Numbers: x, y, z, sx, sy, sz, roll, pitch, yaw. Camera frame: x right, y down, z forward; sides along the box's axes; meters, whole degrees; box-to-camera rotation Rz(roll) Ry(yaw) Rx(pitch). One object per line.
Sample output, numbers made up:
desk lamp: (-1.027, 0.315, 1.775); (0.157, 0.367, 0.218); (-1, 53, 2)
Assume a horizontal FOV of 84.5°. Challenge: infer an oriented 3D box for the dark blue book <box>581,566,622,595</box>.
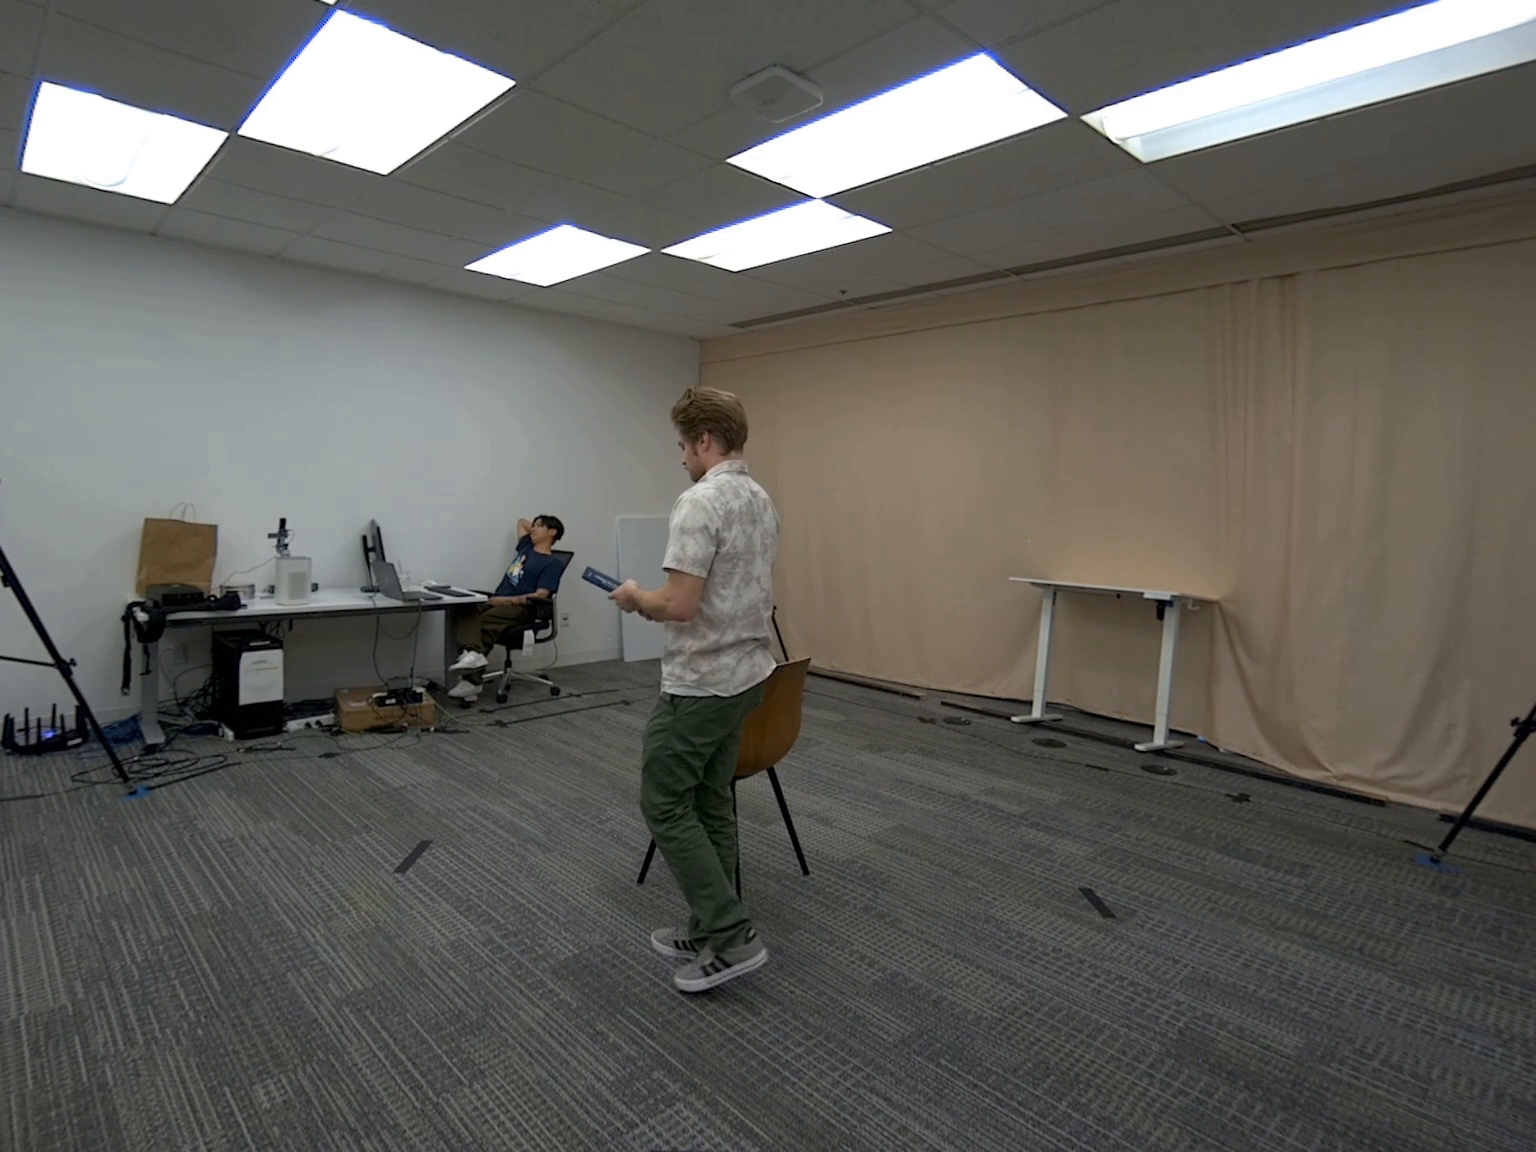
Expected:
dark blue book: (-0.445, 0.050, 2.636); (0.250, 0.045, 0.159); (21, -7, 22)
